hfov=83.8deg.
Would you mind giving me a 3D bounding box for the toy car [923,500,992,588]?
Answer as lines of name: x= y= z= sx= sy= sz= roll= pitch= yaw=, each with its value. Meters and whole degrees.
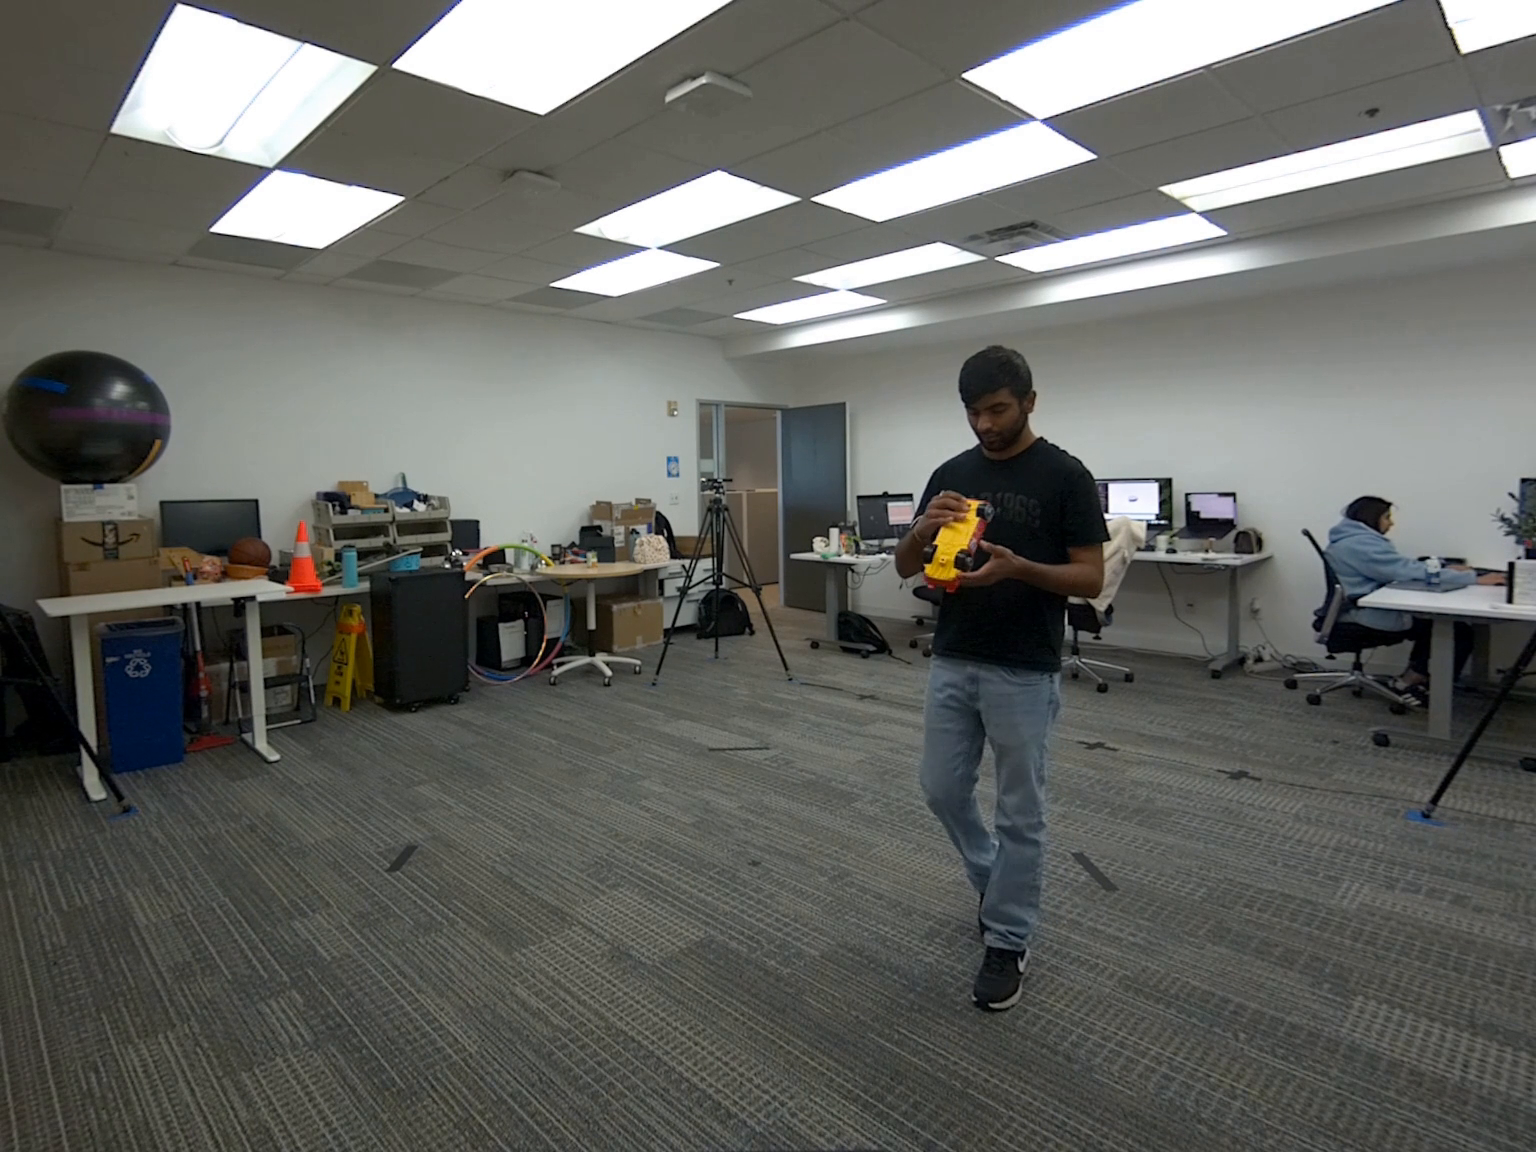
toy car: x=0.483 y=-0.082 z=2.104 sx=0.134 sy=0.256 sz=0.080 roll=9 pitch=-17 yaw=42
